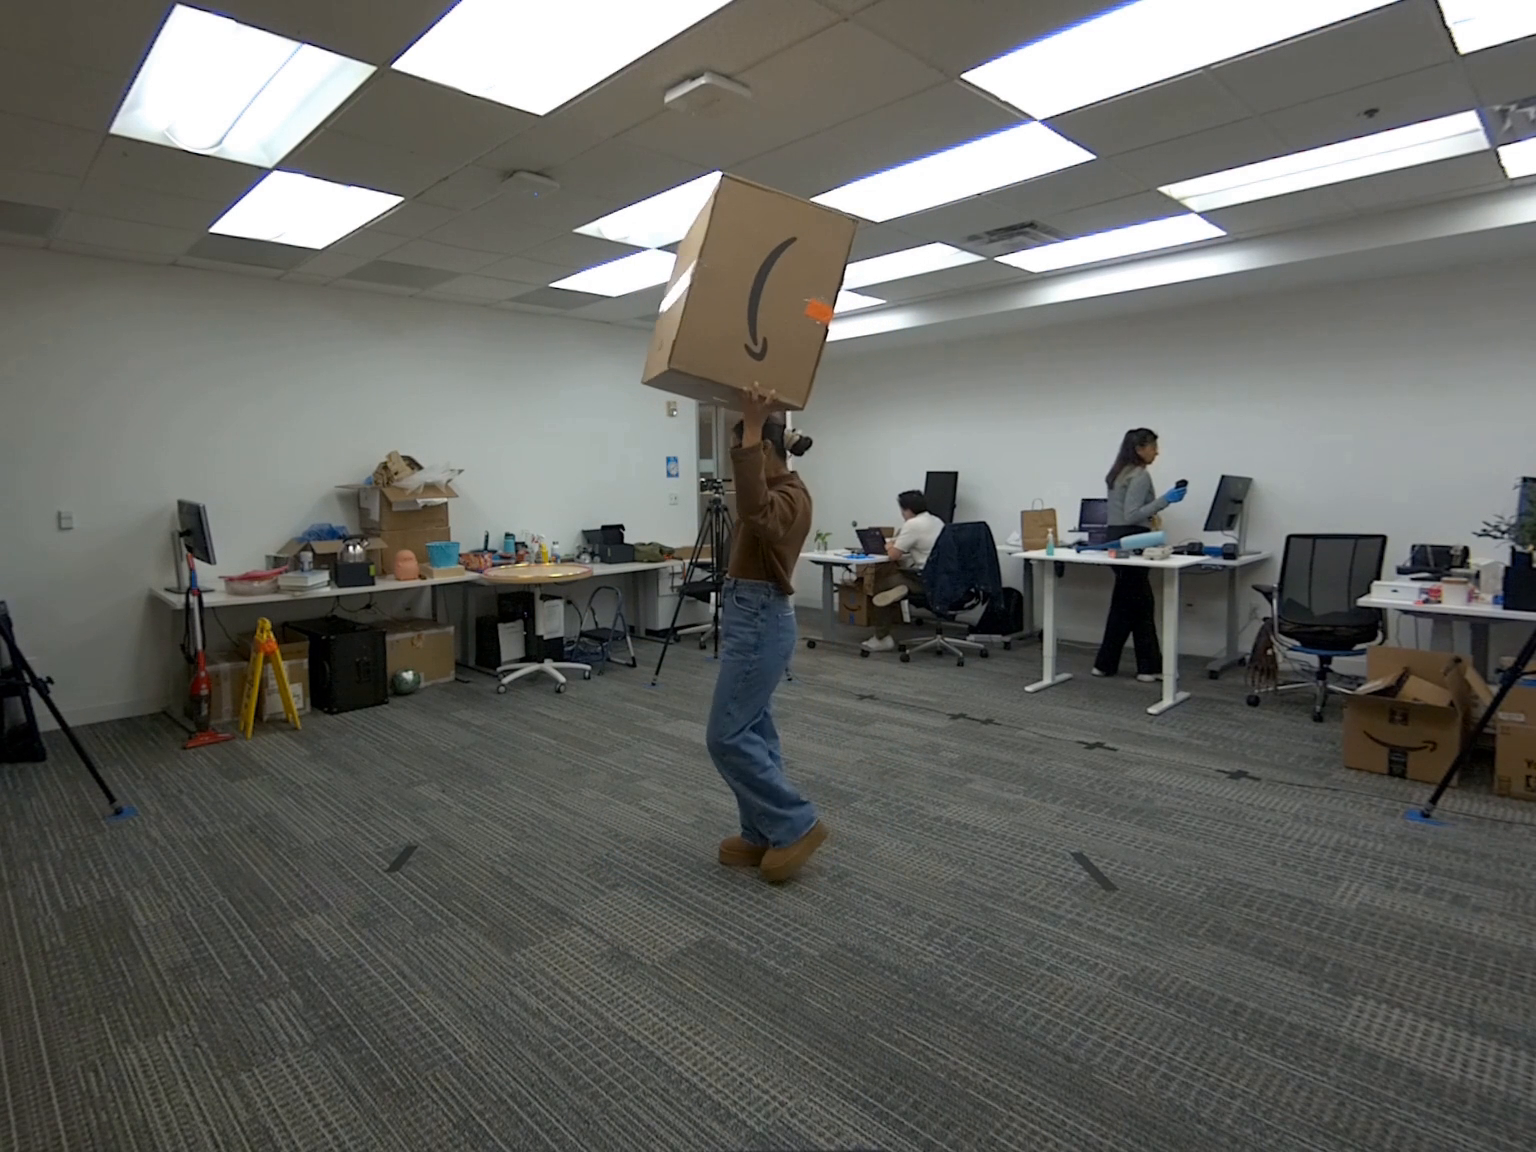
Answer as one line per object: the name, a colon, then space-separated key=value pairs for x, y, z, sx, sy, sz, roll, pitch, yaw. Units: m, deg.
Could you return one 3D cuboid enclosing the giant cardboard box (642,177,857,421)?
giant cardboard box: x=-0.116 y=-0.904 z=2.960 sx=0.420 sy=0.575 sz=1.045 roll=15 pitch=7 yaw=-14
